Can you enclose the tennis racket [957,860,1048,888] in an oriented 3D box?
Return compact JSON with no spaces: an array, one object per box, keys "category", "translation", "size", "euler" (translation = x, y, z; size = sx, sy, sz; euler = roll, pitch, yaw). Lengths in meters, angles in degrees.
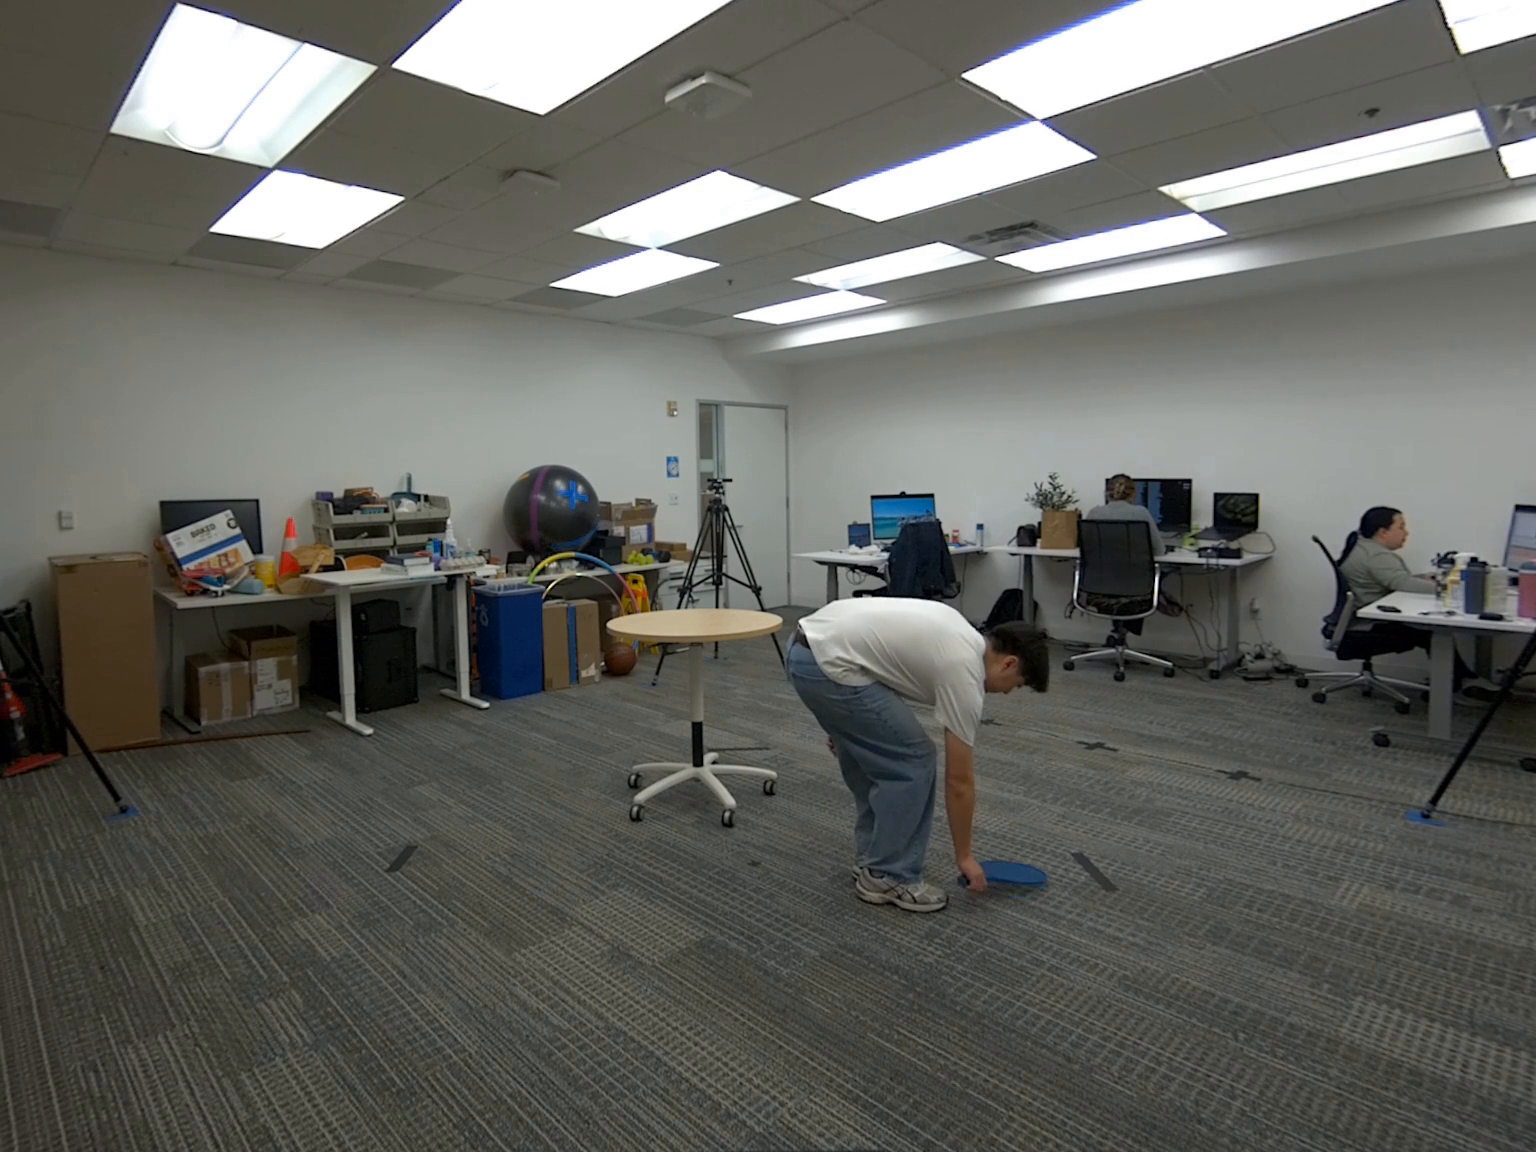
[{"category":"tennis racket","translation":[0.763,0.993,2.890],"size":[0.419,0.032,0.220],"euler":[8,-1,-37]}]
